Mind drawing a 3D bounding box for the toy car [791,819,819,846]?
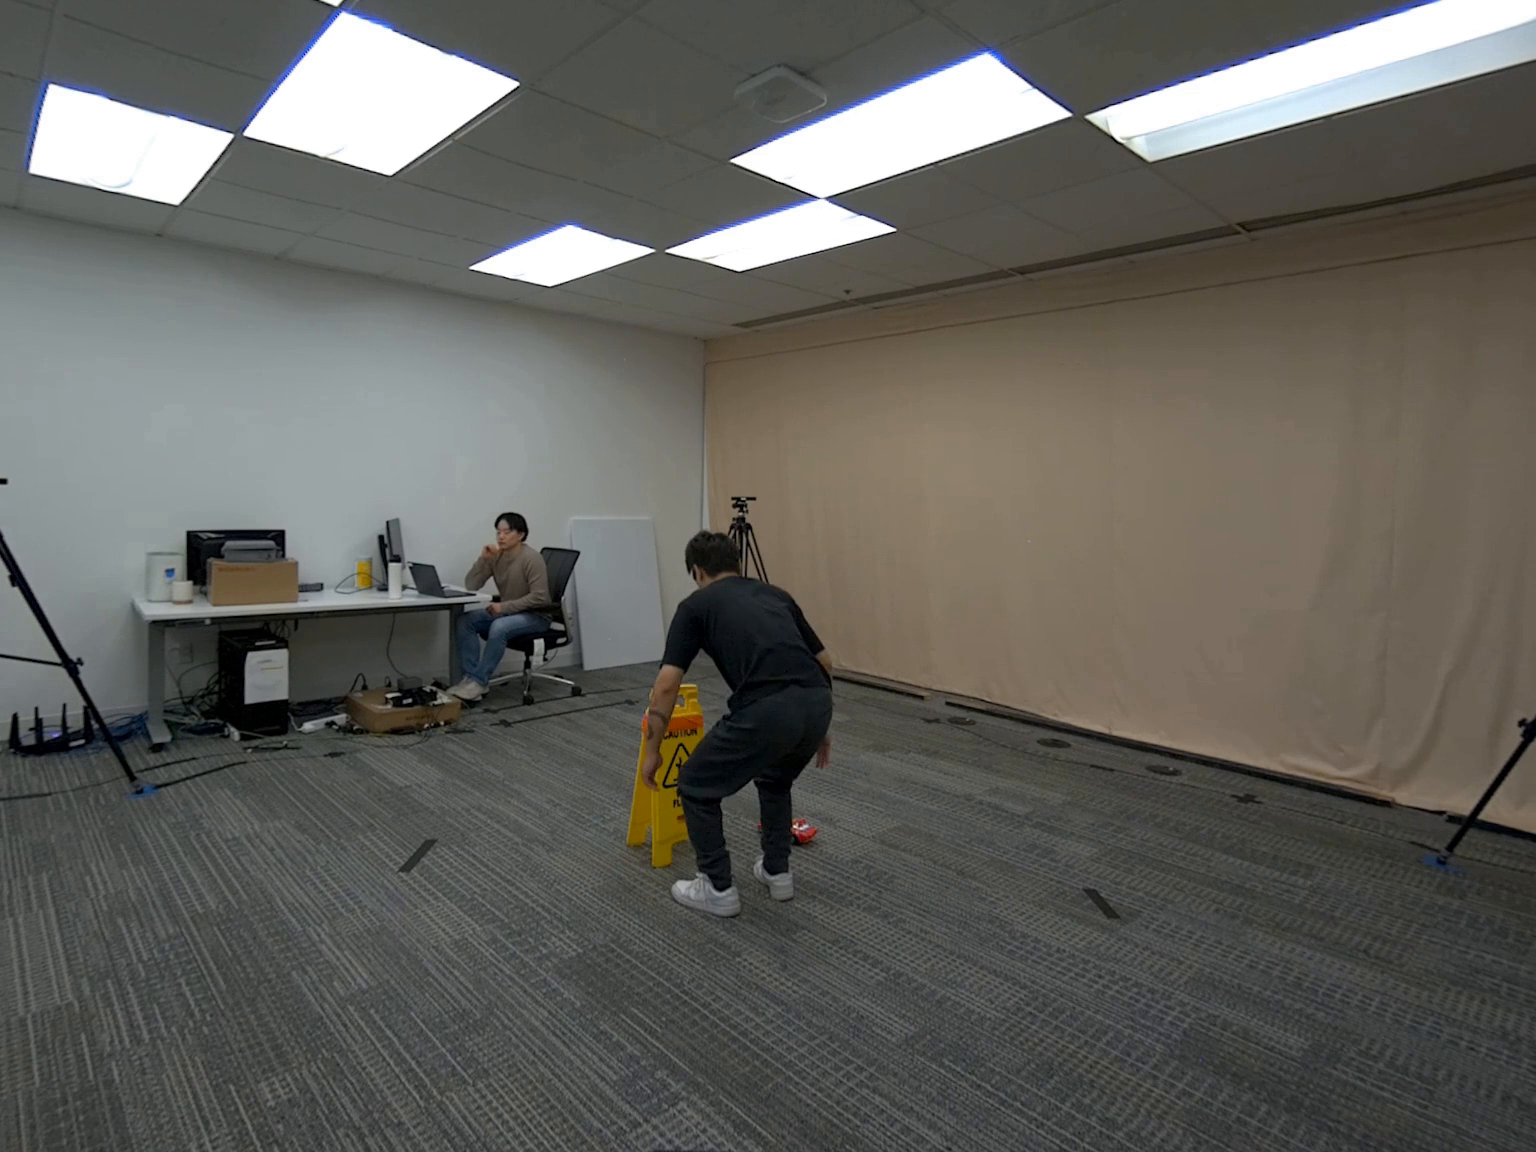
[{"bbox_3d":[0.079,1.052,3.468,0.259,0.083,0.127,-8,-2,33],"label":"toy car"}]
